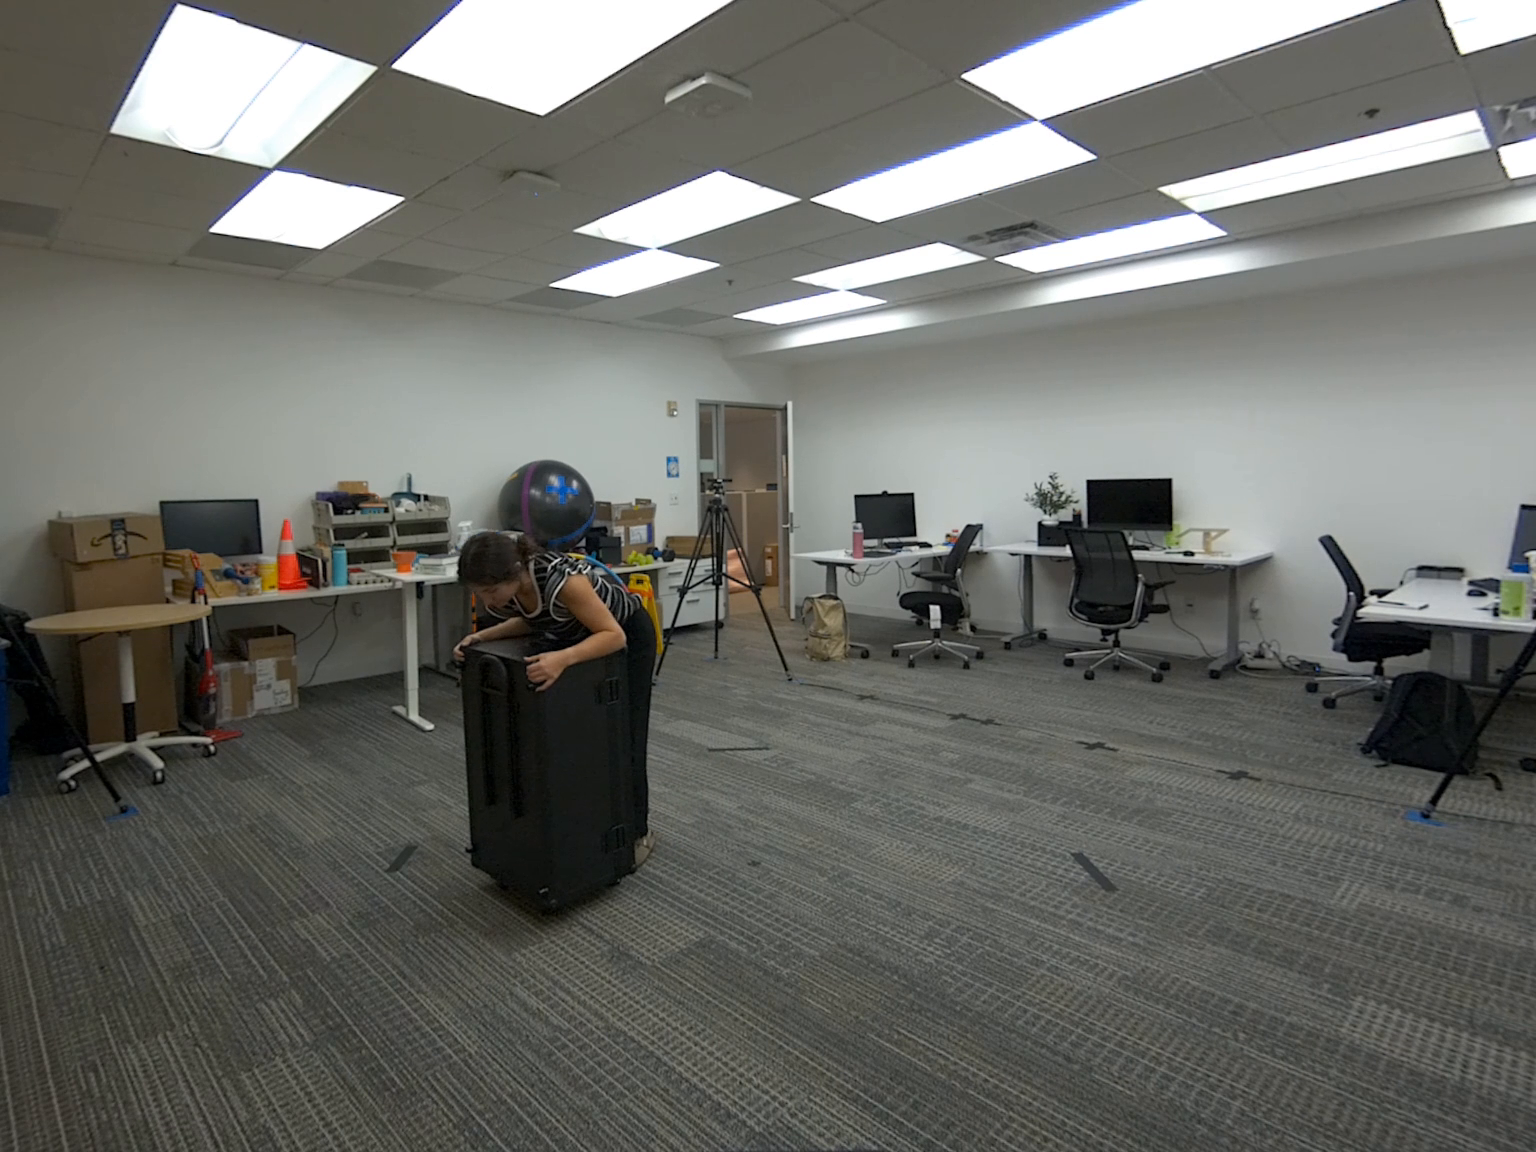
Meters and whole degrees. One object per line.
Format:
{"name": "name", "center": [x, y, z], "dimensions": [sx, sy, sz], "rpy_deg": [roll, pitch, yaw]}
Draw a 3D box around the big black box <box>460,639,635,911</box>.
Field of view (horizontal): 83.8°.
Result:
{"name": "big black box", "center": [-0.753, 0.668, 2.905], "dimensions": [0.537, 0.857, 0.386], "rpy_deg": [3, 7, 43]}
